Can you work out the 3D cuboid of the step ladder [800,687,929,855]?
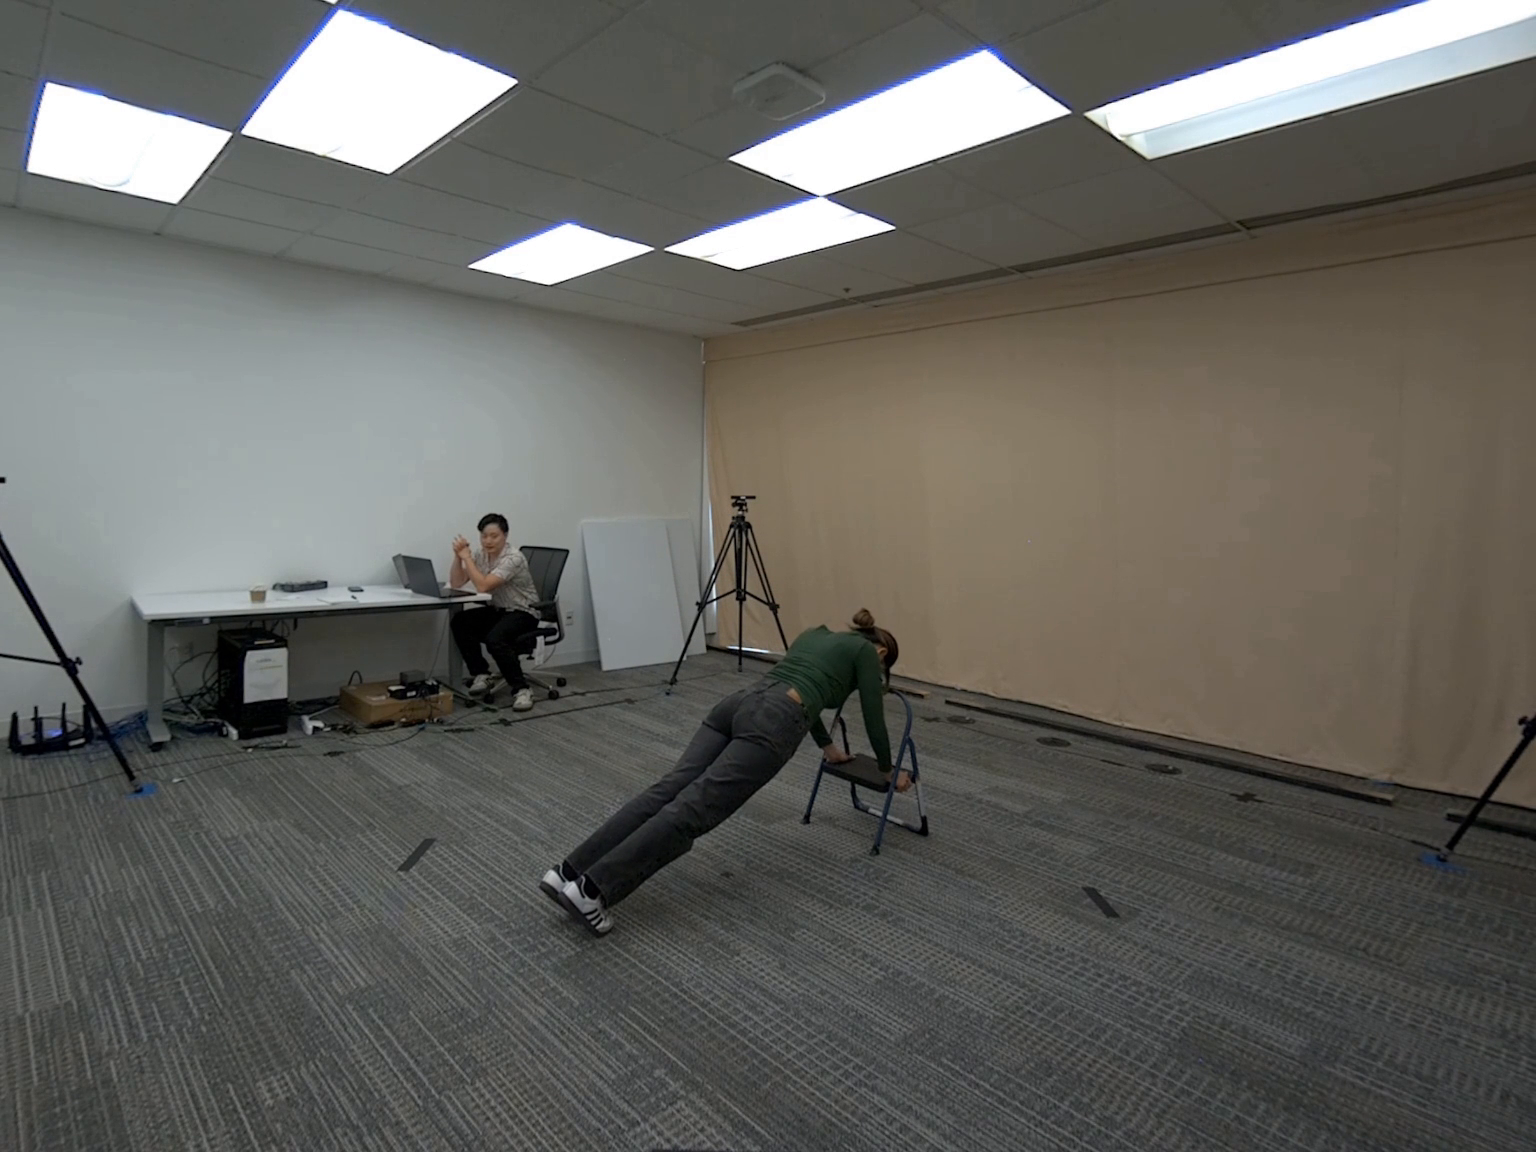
[{"bbox_3d":[0.411,0.774,3.557,0.341,0.605,0.441,-1,4,-40],"label":"step ladder"}]
